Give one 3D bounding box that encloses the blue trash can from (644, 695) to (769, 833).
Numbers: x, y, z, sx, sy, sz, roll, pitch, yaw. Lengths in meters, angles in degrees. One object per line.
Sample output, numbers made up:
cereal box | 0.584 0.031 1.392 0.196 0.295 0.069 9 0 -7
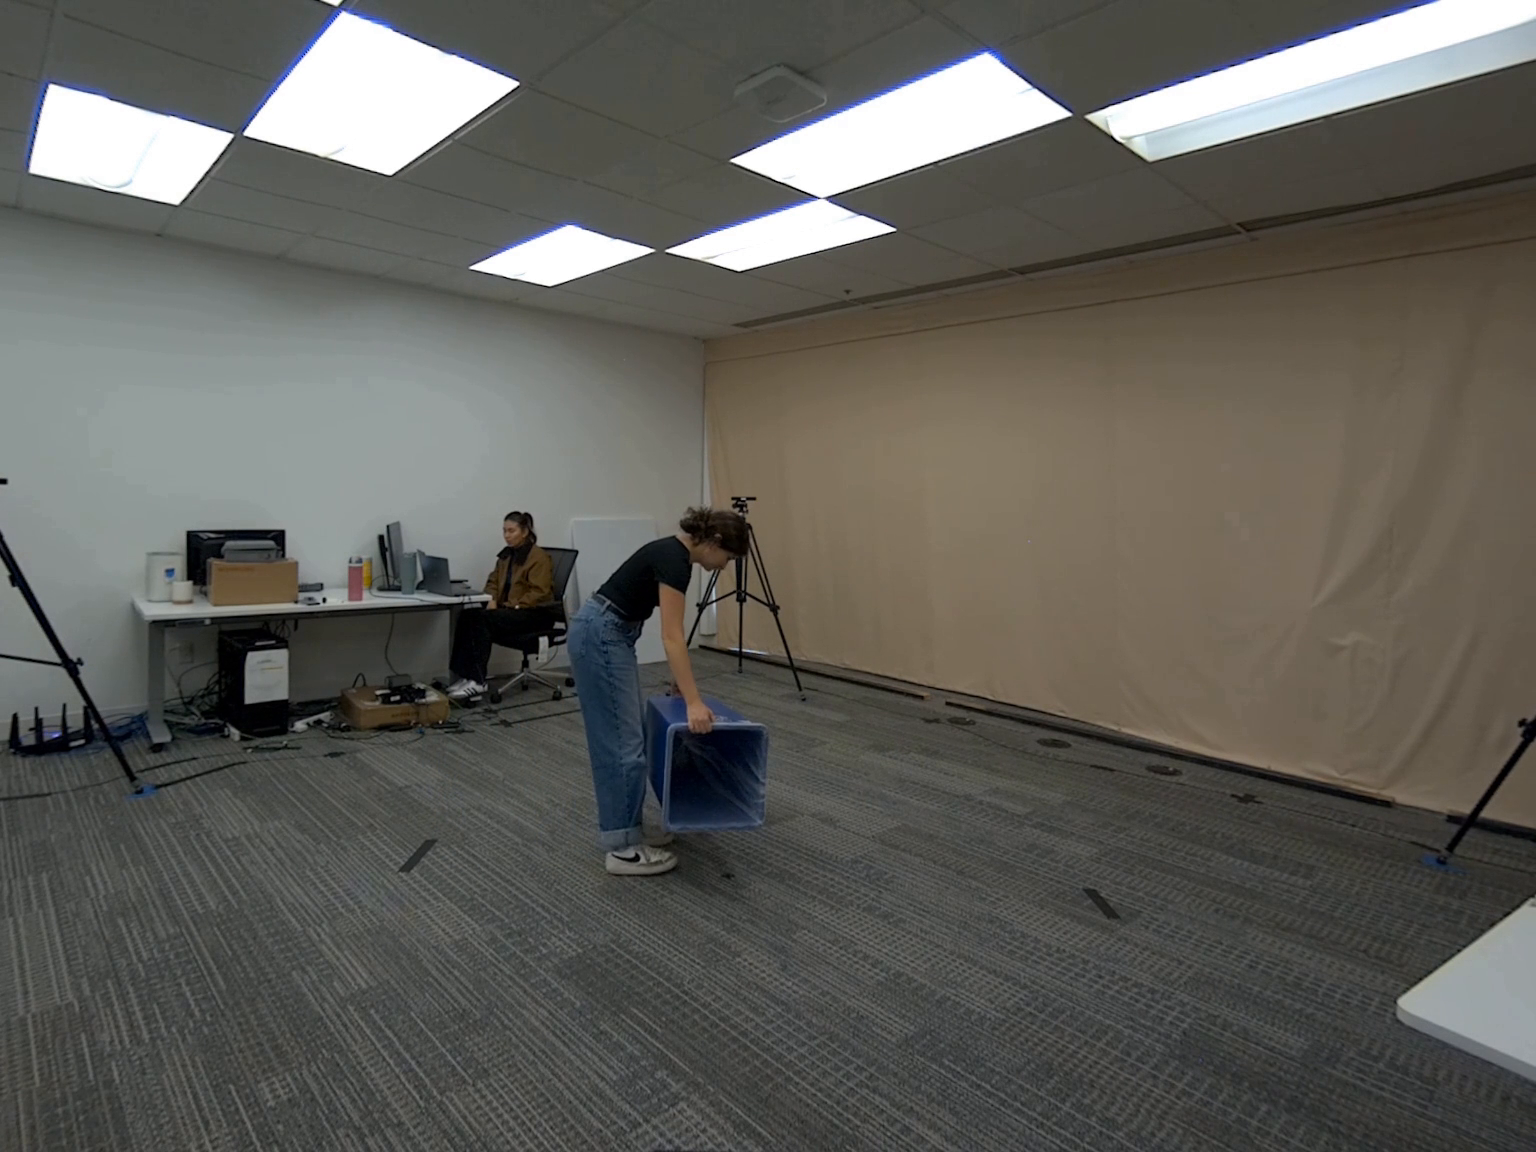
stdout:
blue trash can | -0.280 0.697 3.282 0.373 0.374 0.722 2 1 -16
